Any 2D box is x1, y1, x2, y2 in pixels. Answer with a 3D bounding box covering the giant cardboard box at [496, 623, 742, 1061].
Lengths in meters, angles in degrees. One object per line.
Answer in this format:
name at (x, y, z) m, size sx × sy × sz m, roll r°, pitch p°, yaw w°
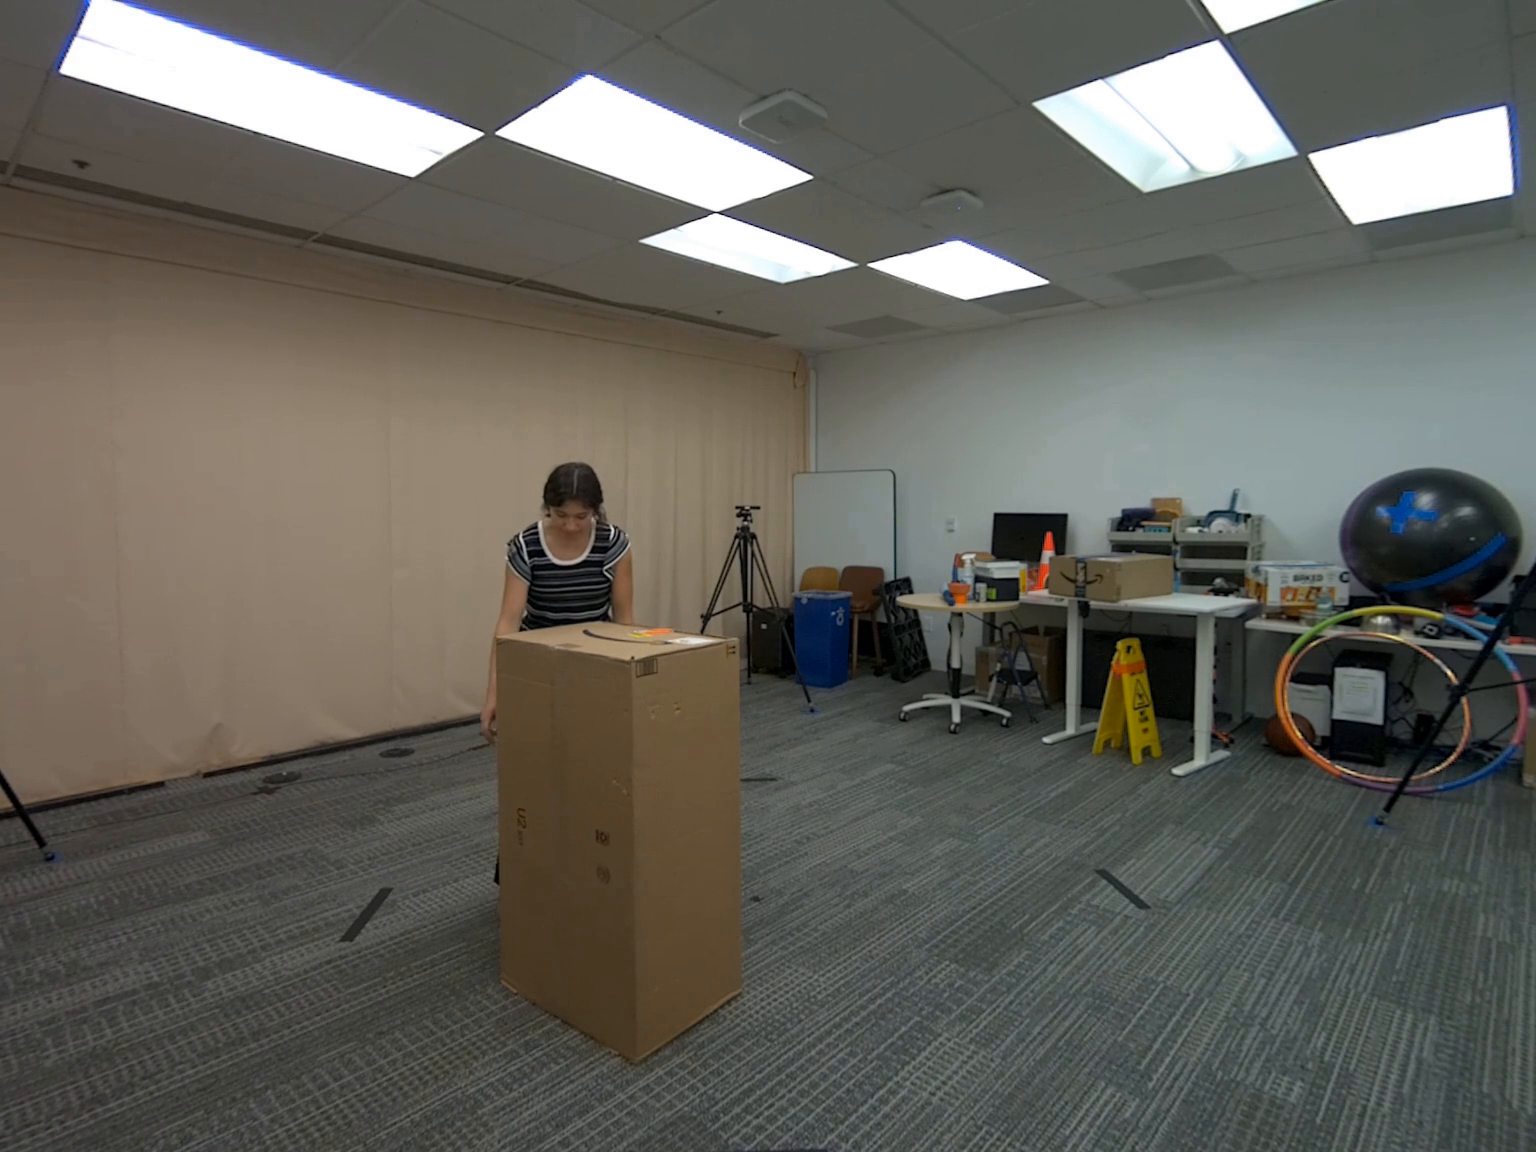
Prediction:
giant cardboard box at (-0.424, 0.690, 2.413) m, size 0.596 × 1.024 × 0.413 m, roll 2°, pitch 4°, yaw 38°
